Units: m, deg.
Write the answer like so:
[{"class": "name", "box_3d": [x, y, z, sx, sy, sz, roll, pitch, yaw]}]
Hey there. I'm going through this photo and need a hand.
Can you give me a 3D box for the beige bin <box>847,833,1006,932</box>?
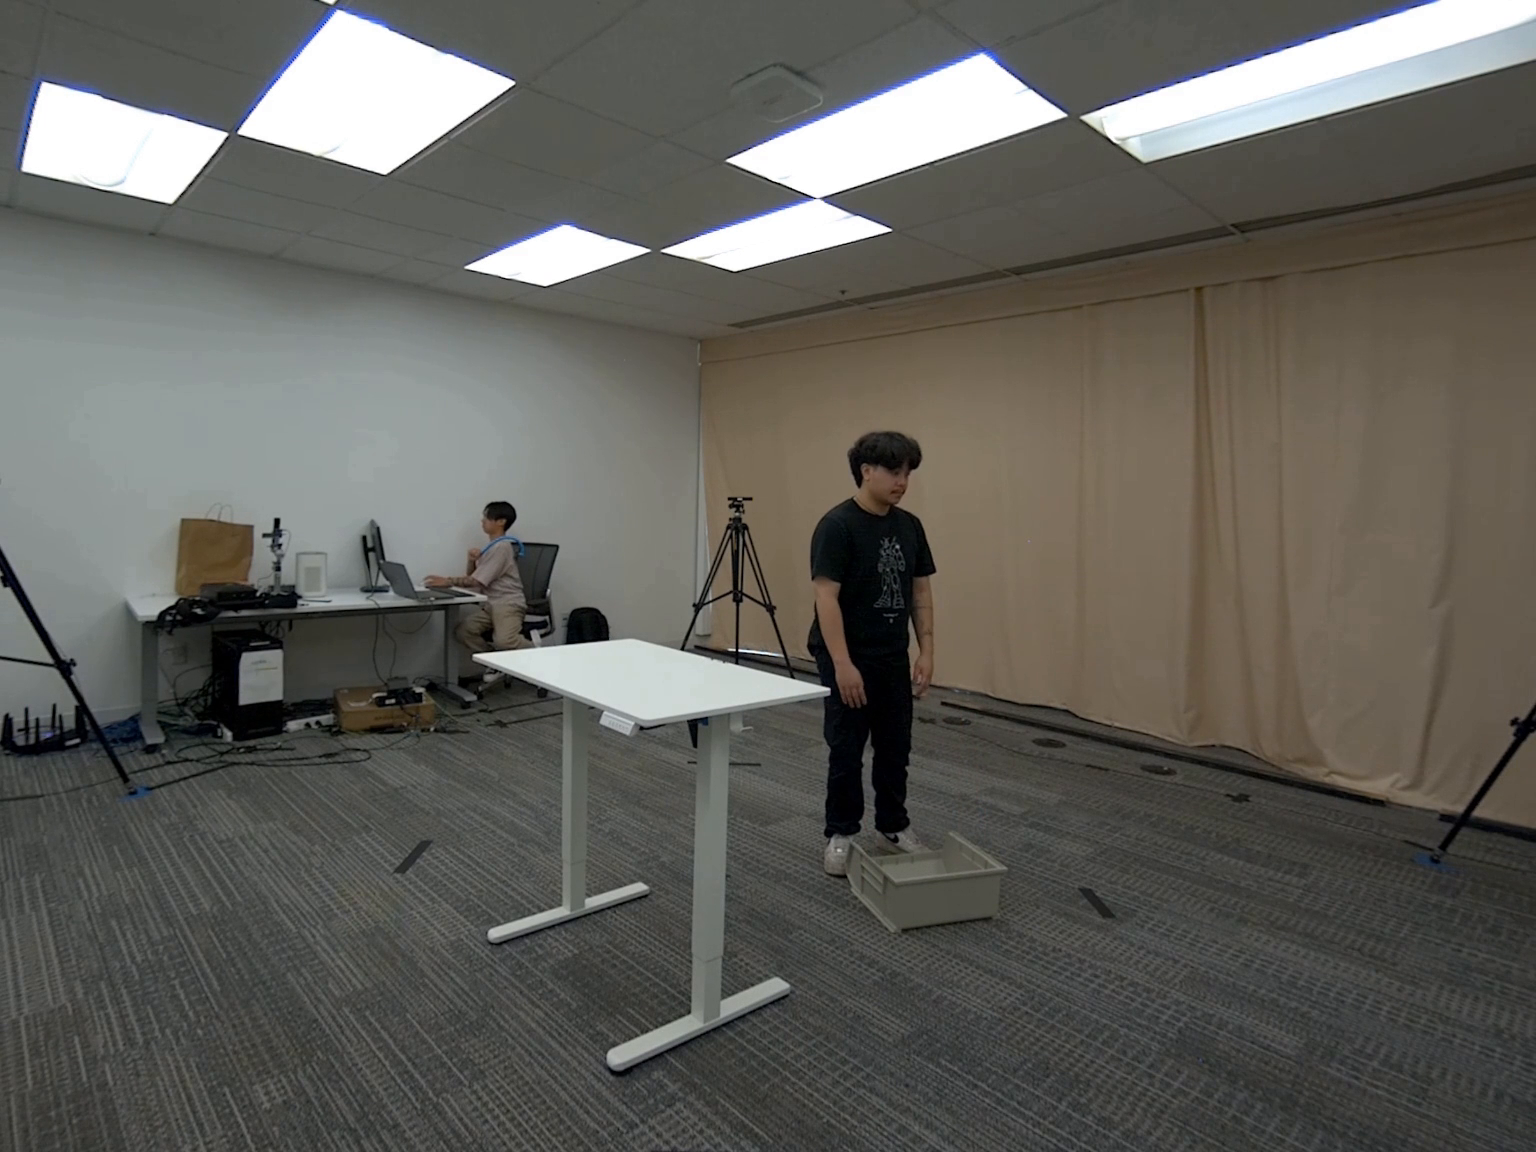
[{"class": "beige bin", "box_3d": [0.529, 1.053, 2.942, 0.416, 0.188, 0.384, 1, 6, -19]}]
